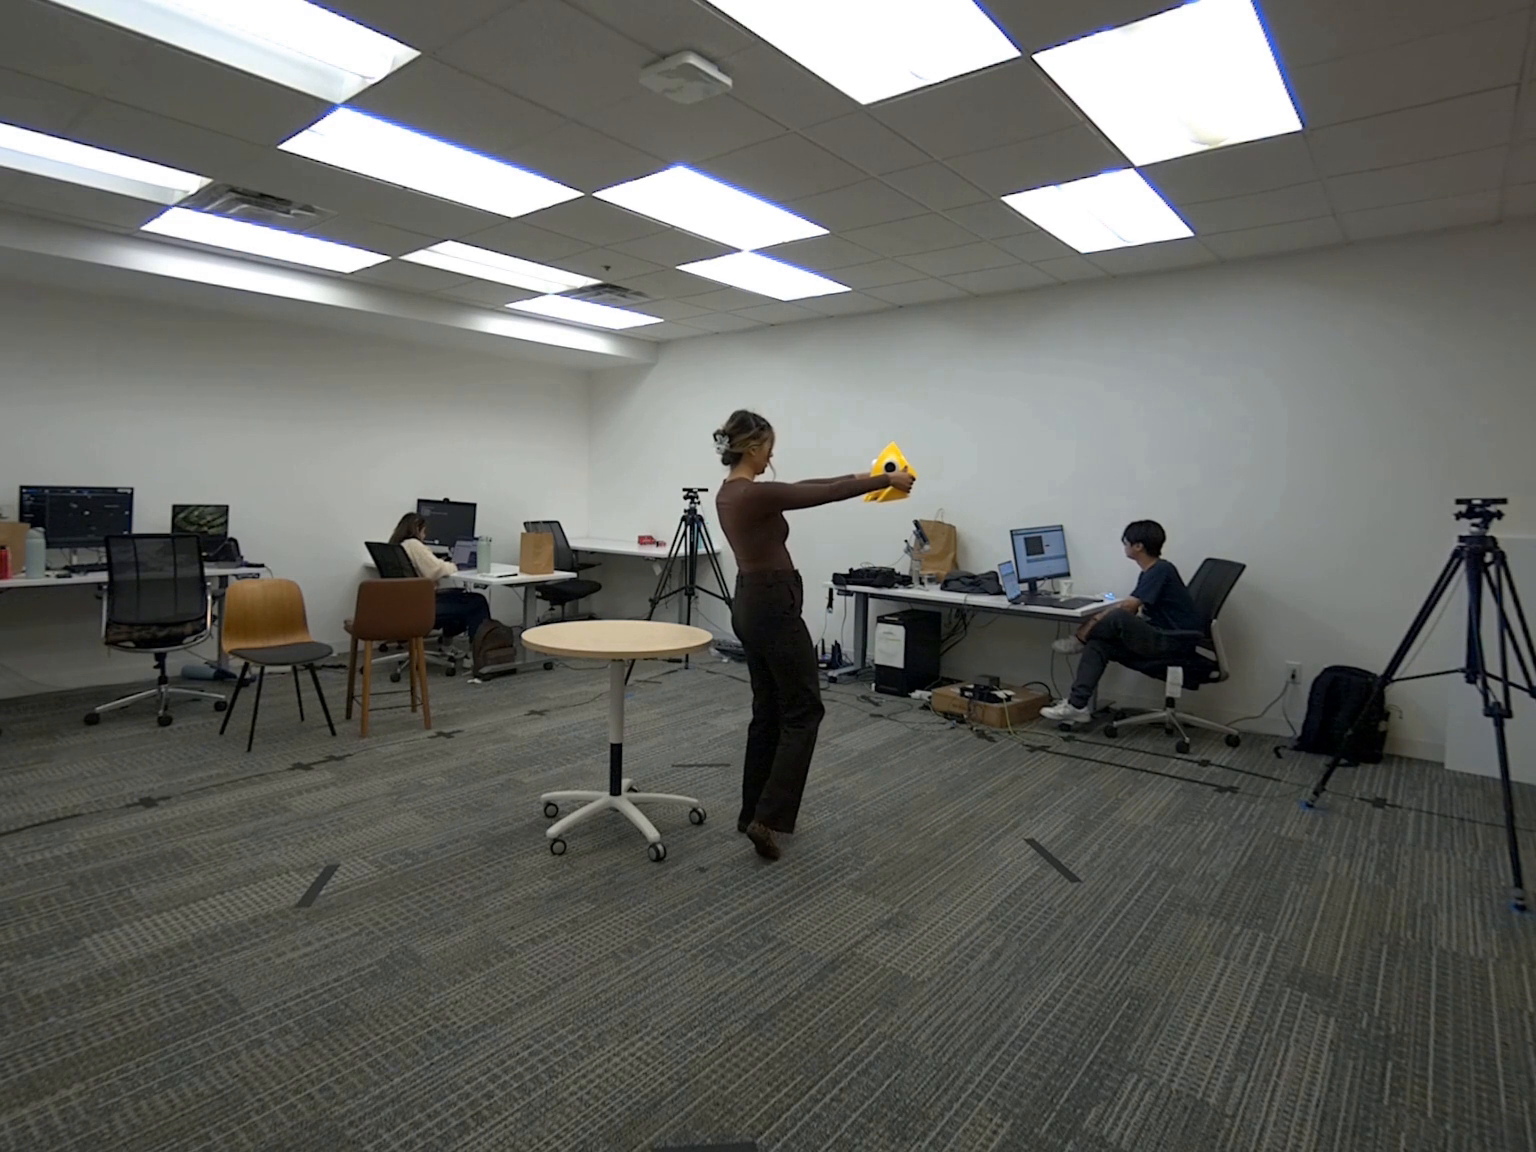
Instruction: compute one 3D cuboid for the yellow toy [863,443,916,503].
[{"bbox_3d":[0.477,-0.441,3.529,0.190,0.229,0.210,-12,7,-22],"label":"yellow toy"}]
